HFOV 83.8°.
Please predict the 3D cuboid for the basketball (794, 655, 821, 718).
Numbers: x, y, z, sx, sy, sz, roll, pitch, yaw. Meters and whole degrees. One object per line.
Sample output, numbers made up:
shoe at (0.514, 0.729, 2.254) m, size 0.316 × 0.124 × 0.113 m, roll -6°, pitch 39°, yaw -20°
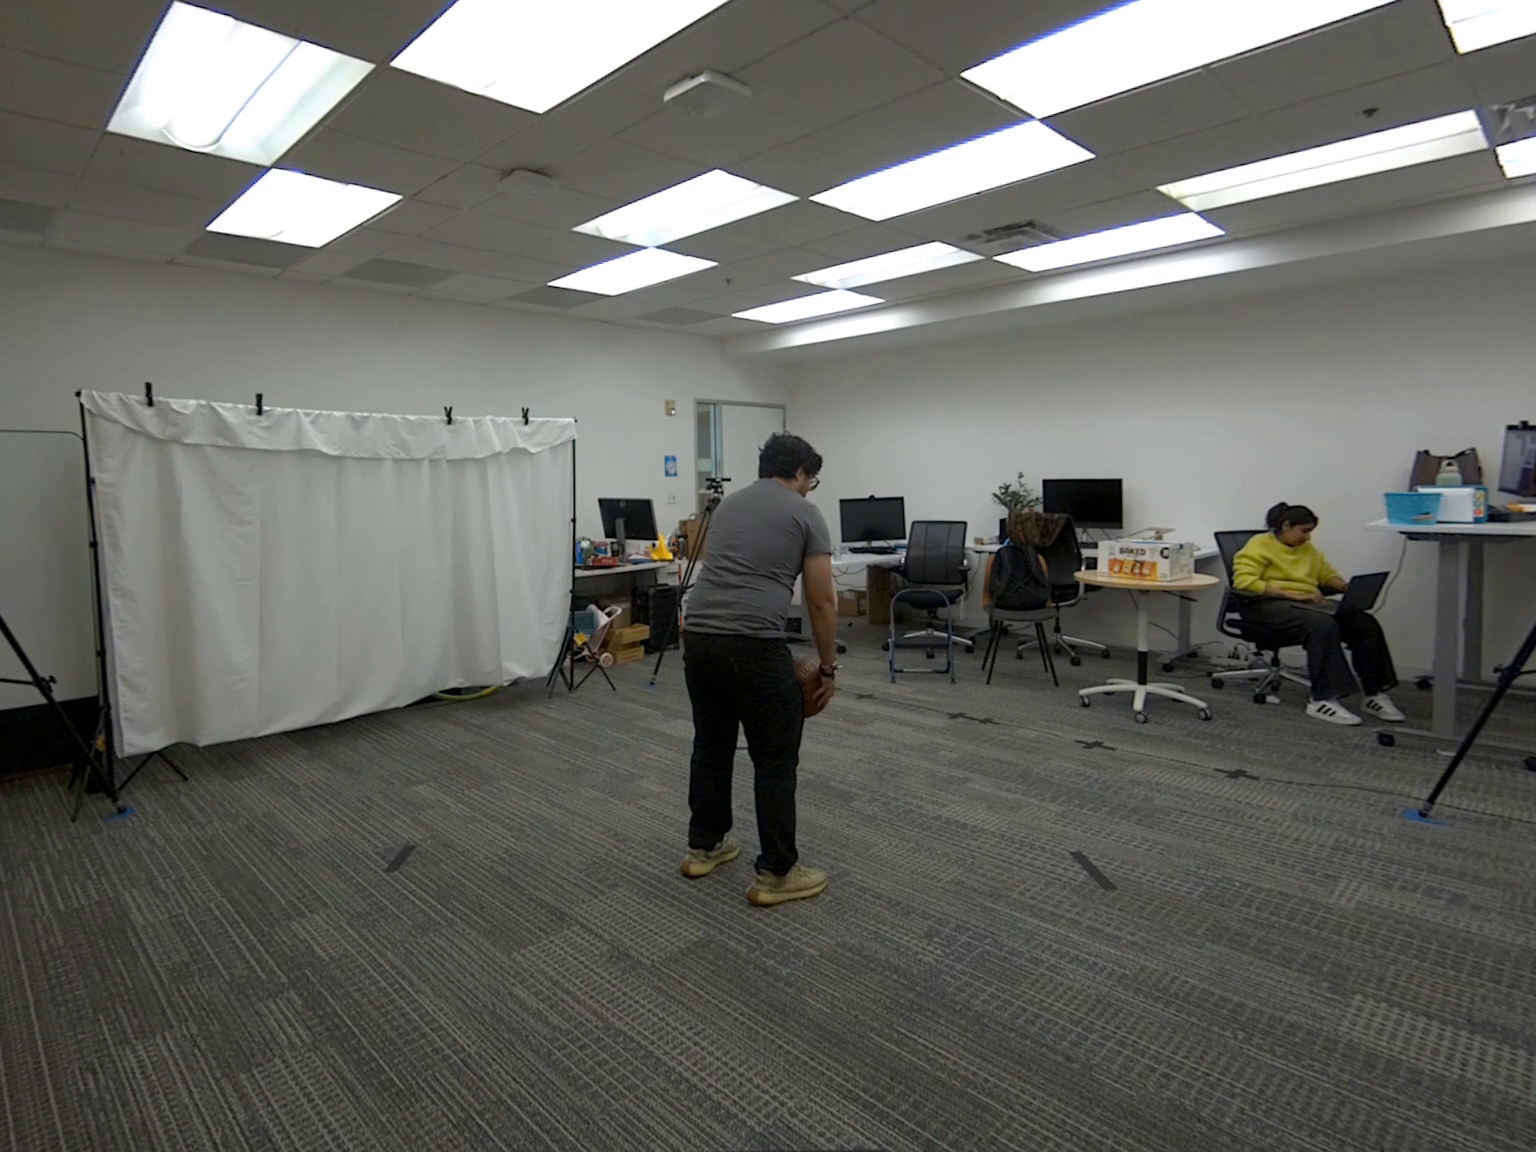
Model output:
basketball at (0.121, 0.406, 3.134) m, size 0.236 × 0.235 × 0.237 m, roll -1°, pitch 5°, yaw -2°
